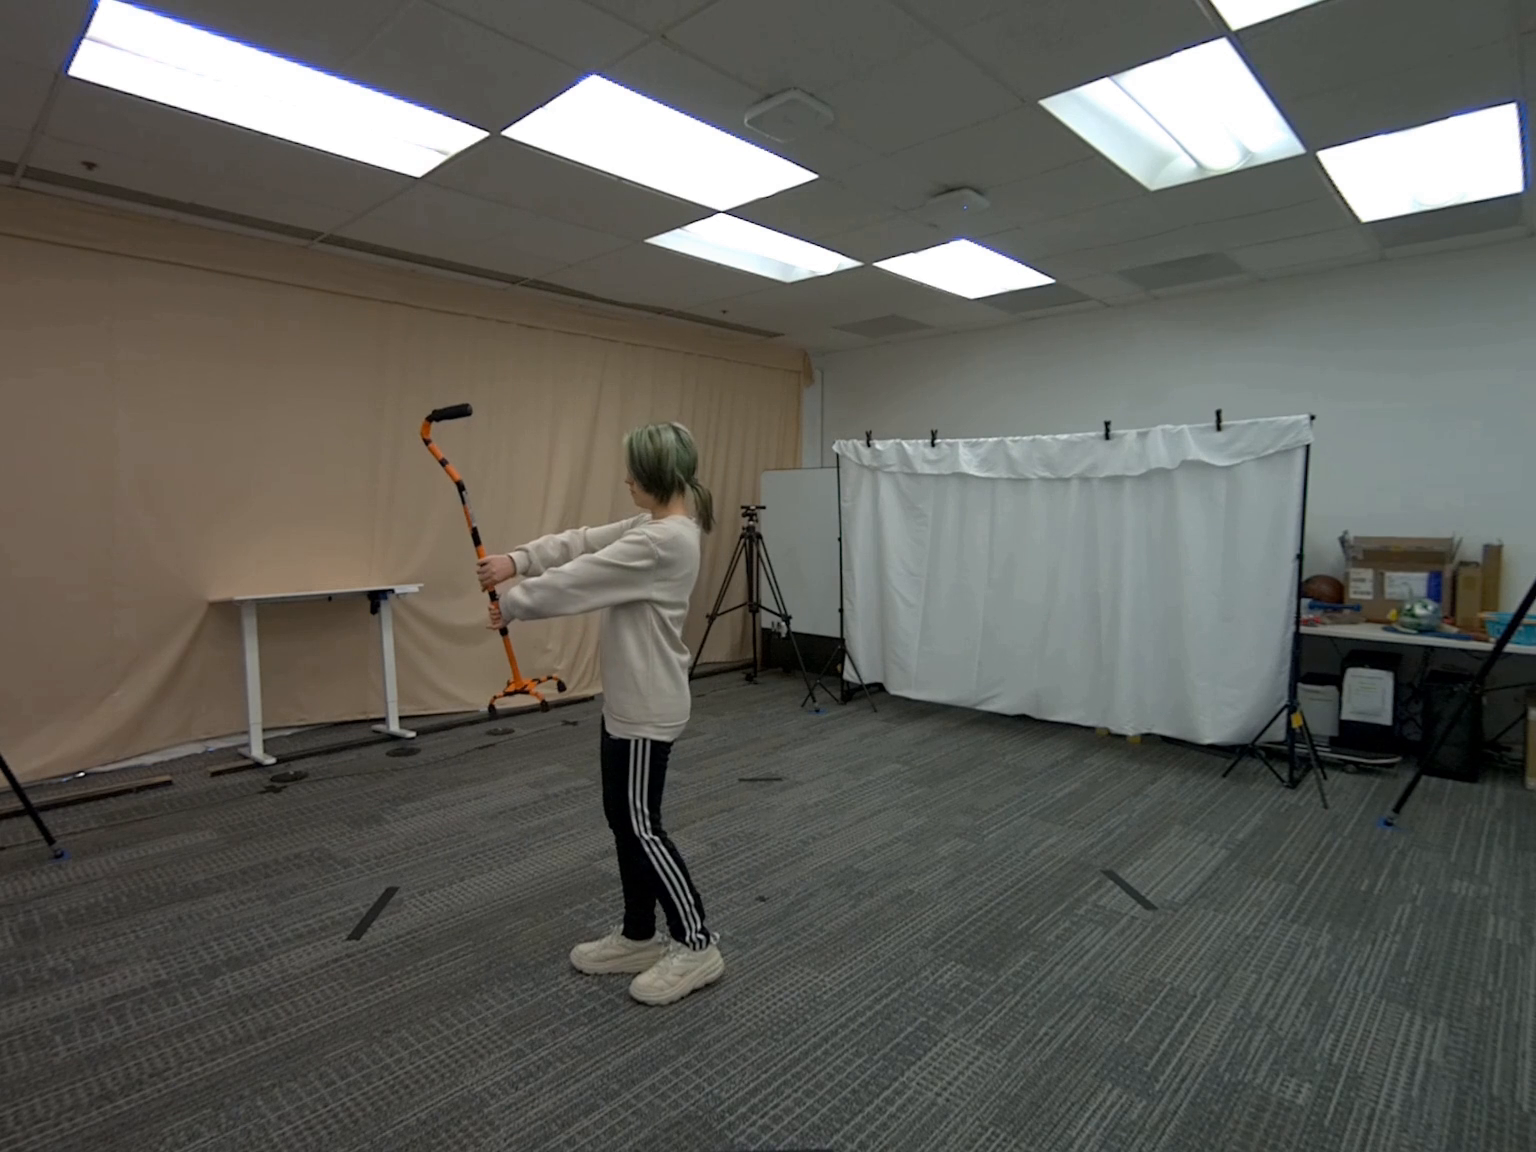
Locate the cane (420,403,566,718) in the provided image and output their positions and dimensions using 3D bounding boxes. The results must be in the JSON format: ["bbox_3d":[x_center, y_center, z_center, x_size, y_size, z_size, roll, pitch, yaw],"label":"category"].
[{"bbox_3d":[-0.823,-0.037,2.427,0.210,0.896,0.151,-5,17,15],"label":"cane"}]
